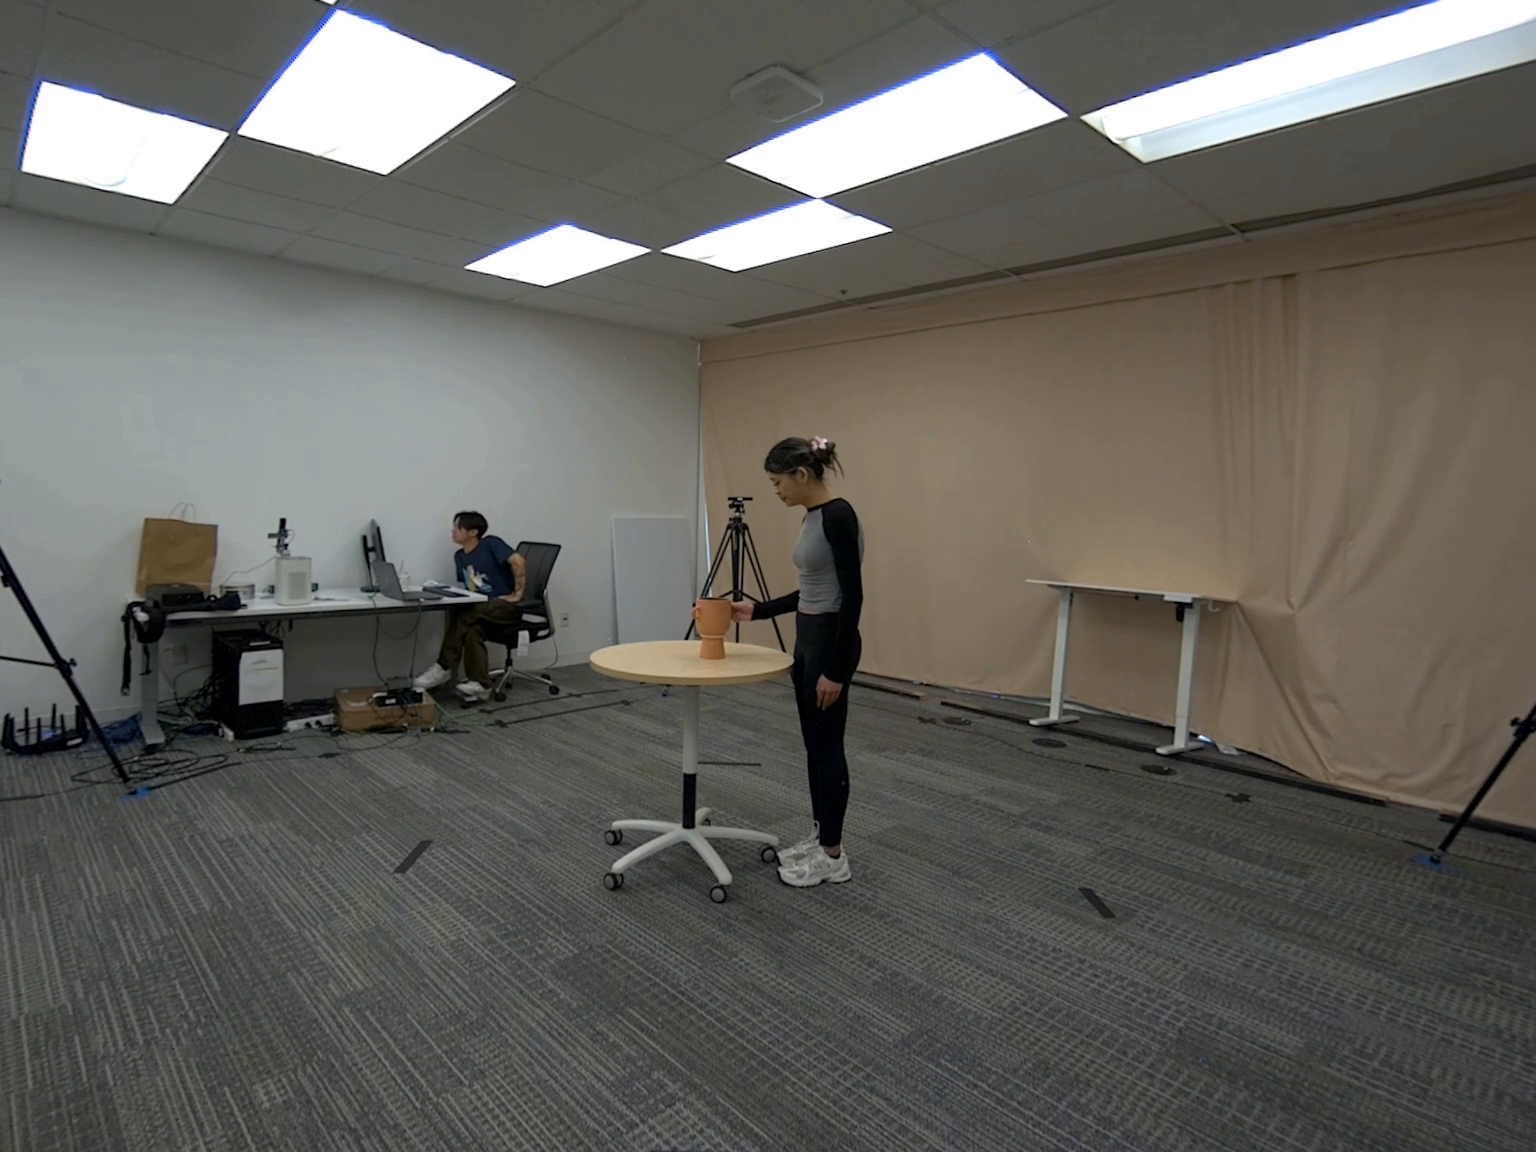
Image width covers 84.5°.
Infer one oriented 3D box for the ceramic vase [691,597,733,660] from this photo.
[{"bbox_3d":[-0.210,0.194,3.173,0.159,0.219,0.135,0,3,1],"label":"ceramic vase"}]
